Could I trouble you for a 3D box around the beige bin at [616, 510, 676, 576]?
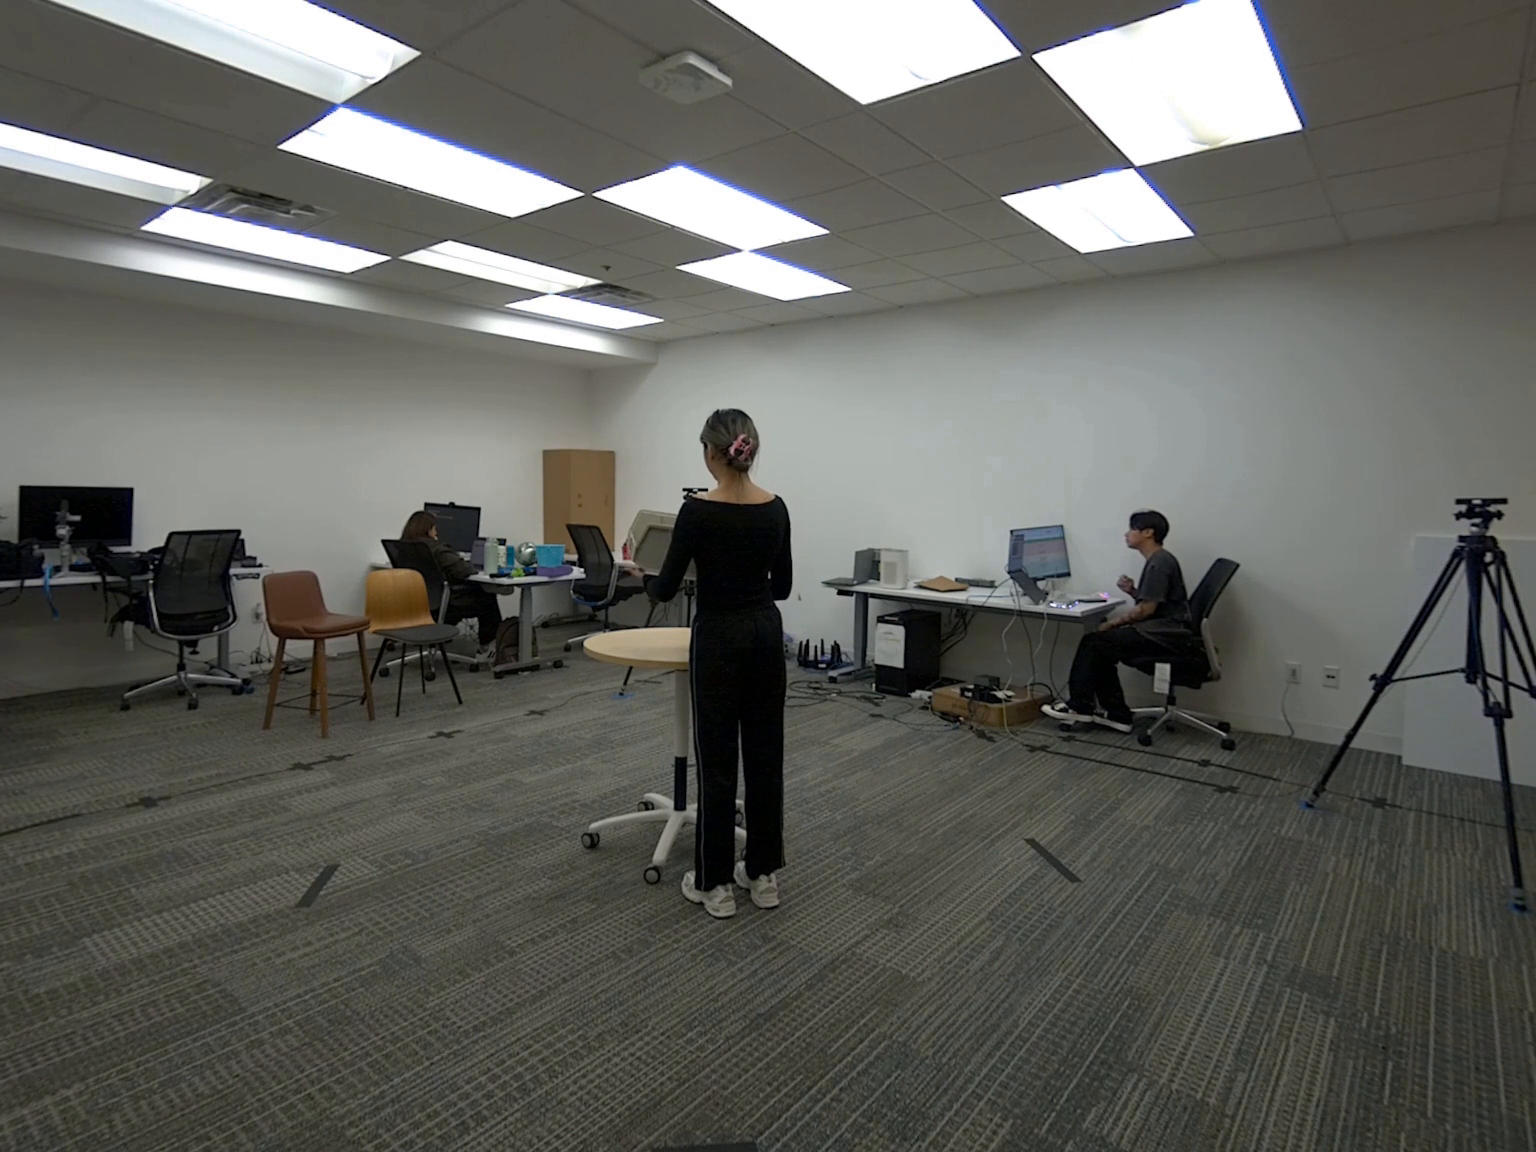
[{"bbox_3d":[-0.333,-0.108,3.152,0.373,0.187,0.431,8,11,-11],"label":"beige bin"}]
